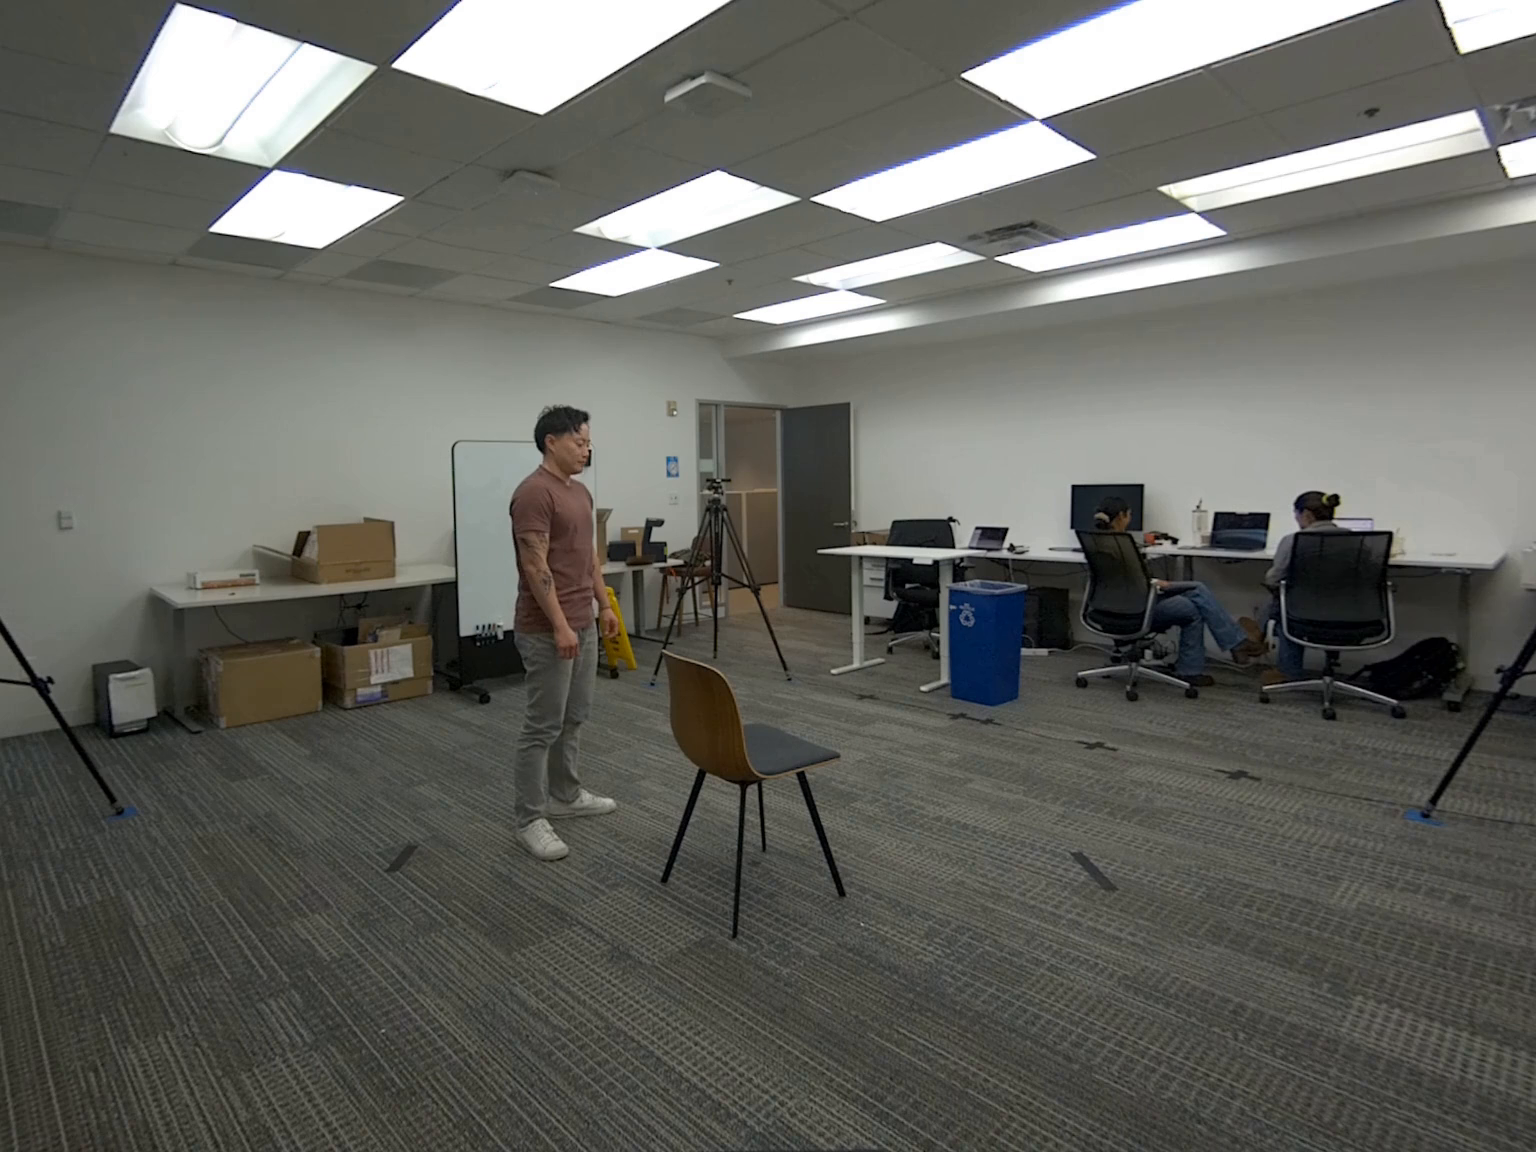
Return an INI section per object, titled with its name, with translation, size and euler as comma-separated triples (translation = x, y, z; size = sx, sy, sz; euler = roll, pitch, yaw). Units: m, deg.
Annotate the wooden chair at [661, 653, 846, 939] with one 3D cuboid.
[wooden chair]
translation = -0.055, 0.644, 2.874
size = 0.511, 0.872, 0.492
euler = -9, 8, -35
